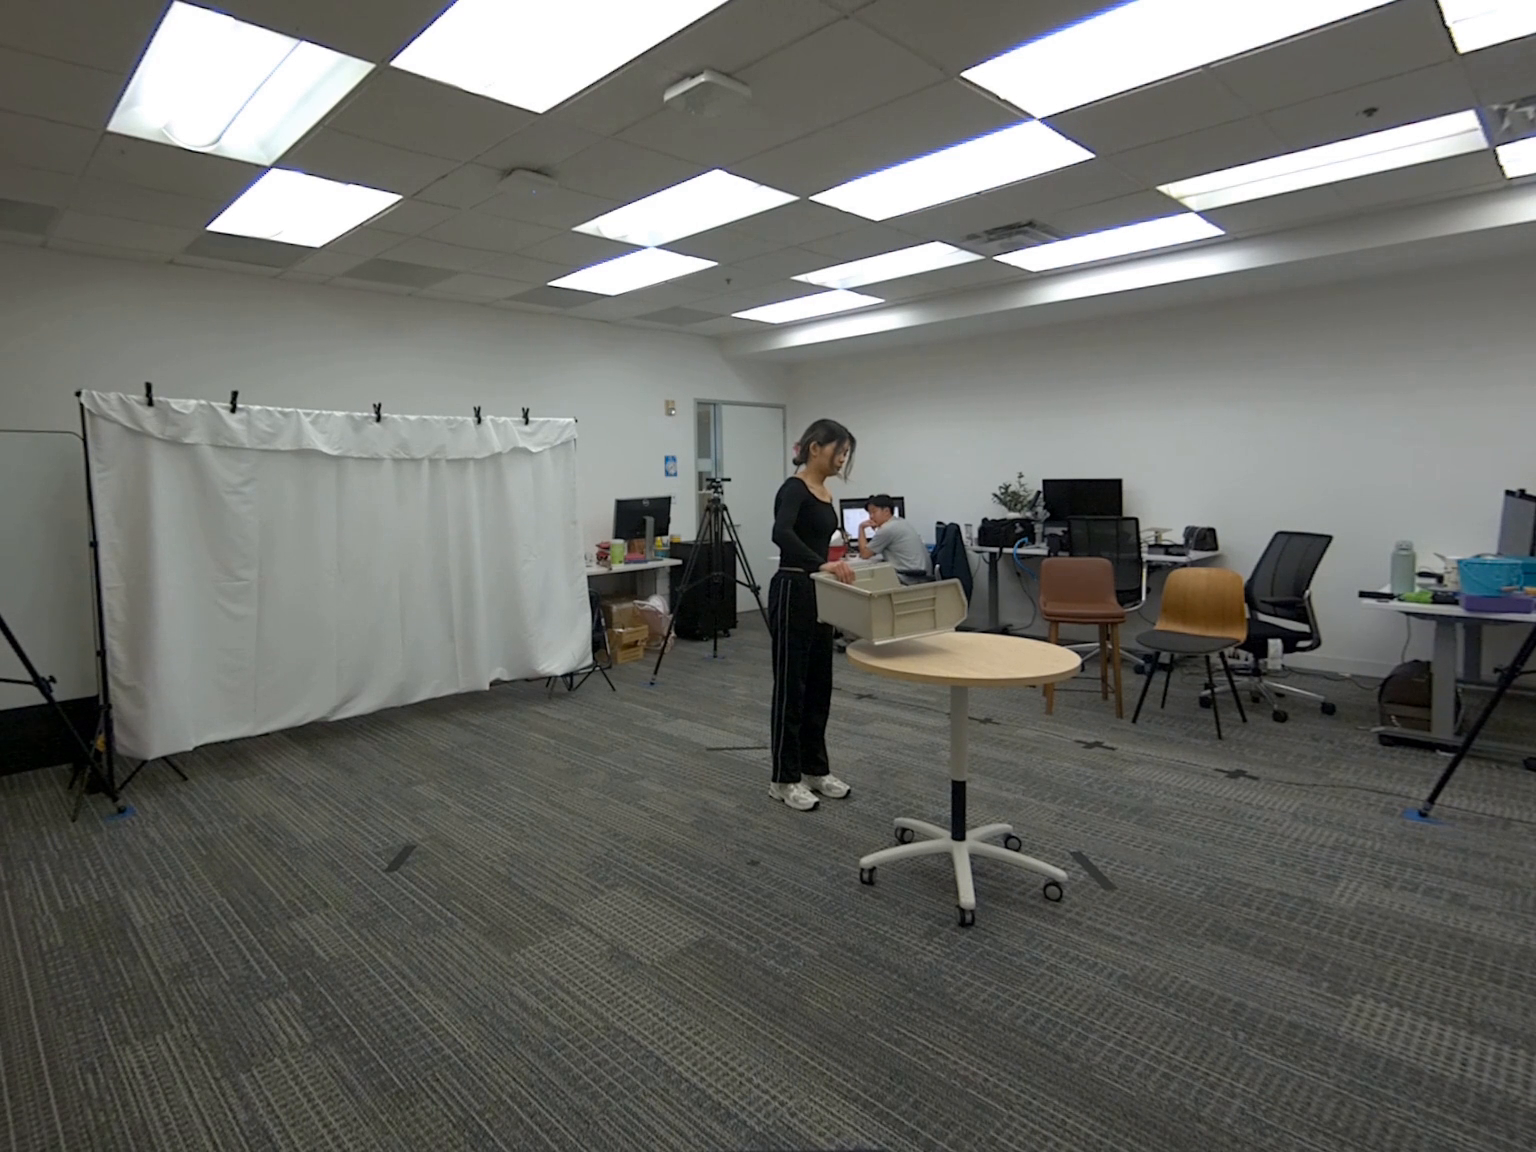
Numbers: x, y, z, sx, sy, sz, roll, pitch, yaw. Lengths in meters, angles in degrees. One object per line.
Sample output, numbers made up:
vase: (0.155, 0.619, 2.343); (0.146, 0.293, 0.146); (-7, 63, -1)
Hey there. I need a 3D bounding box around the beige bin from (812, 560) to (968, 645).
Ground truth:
beige bin: (0.422, 0.084, 3.019); (0.371, 0.187, 0.433); (-9, 12, -20)
